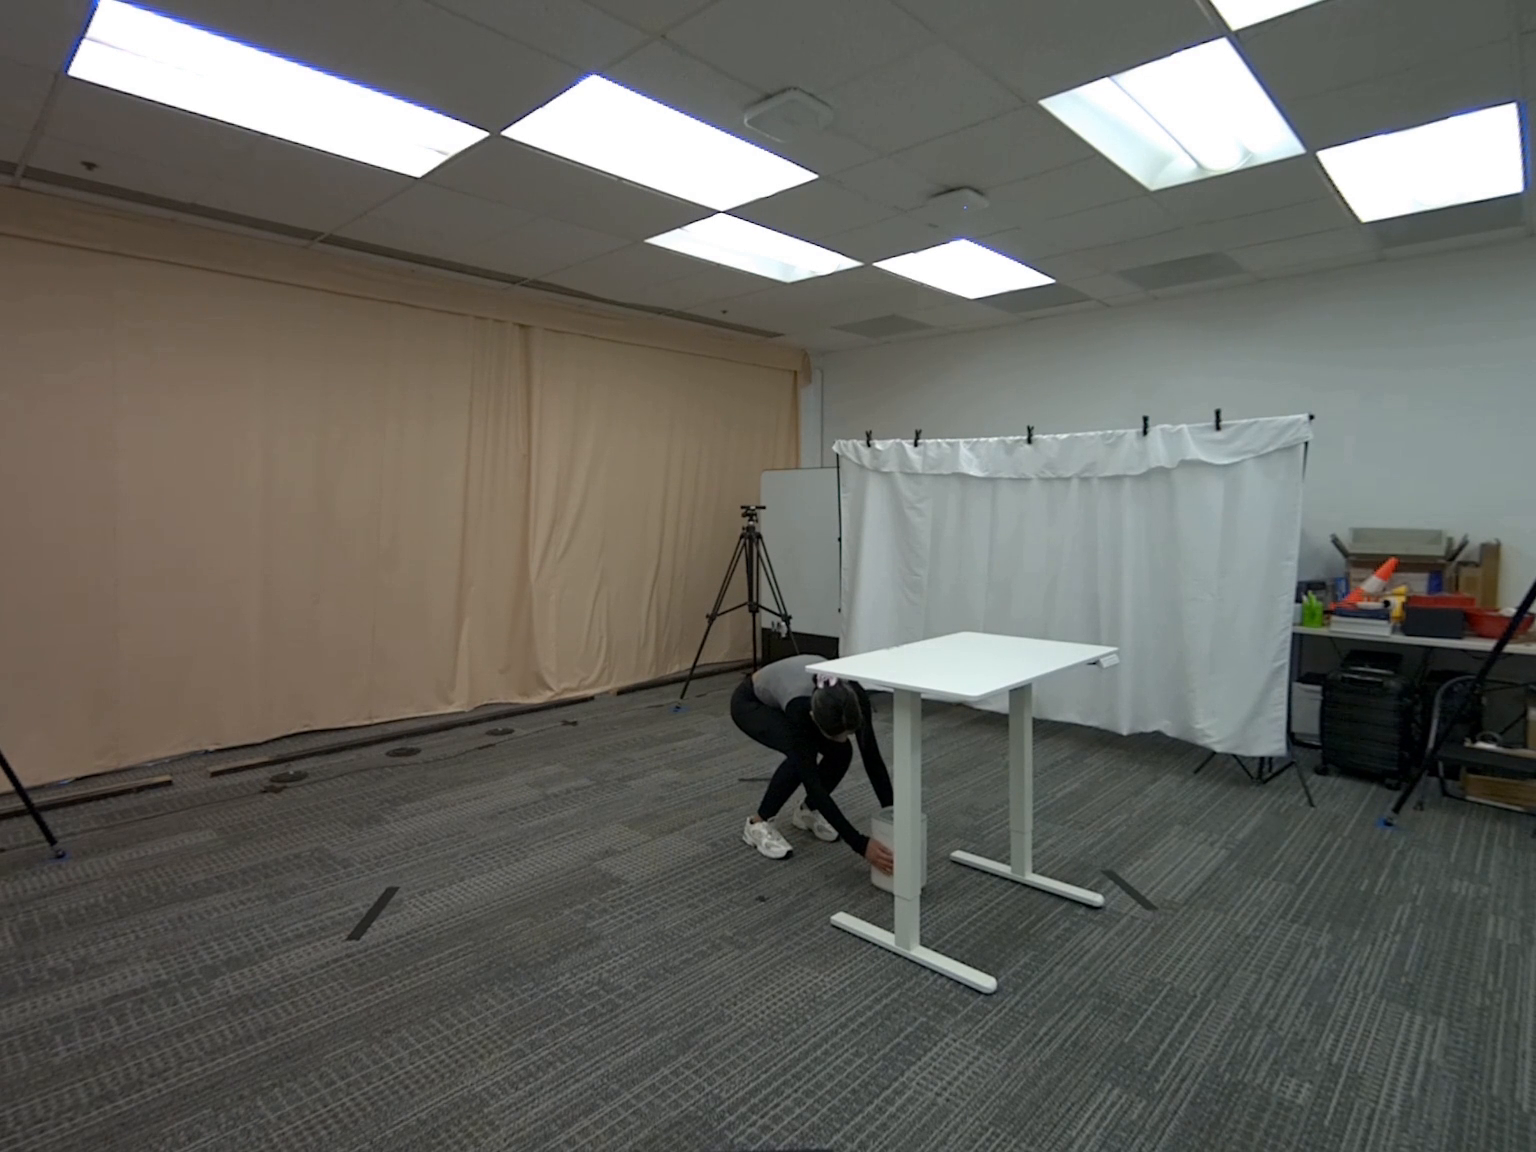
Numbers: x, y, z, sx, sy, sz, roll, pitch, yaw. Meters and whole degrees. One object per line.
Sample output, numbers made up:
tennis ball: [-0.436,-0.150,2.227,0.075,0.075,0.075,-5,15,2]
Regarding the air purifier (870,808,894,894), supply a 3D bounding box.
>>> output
air purifier: [0.487,1.004,3.064,0.177,0.264,0.166,7,7,41]
